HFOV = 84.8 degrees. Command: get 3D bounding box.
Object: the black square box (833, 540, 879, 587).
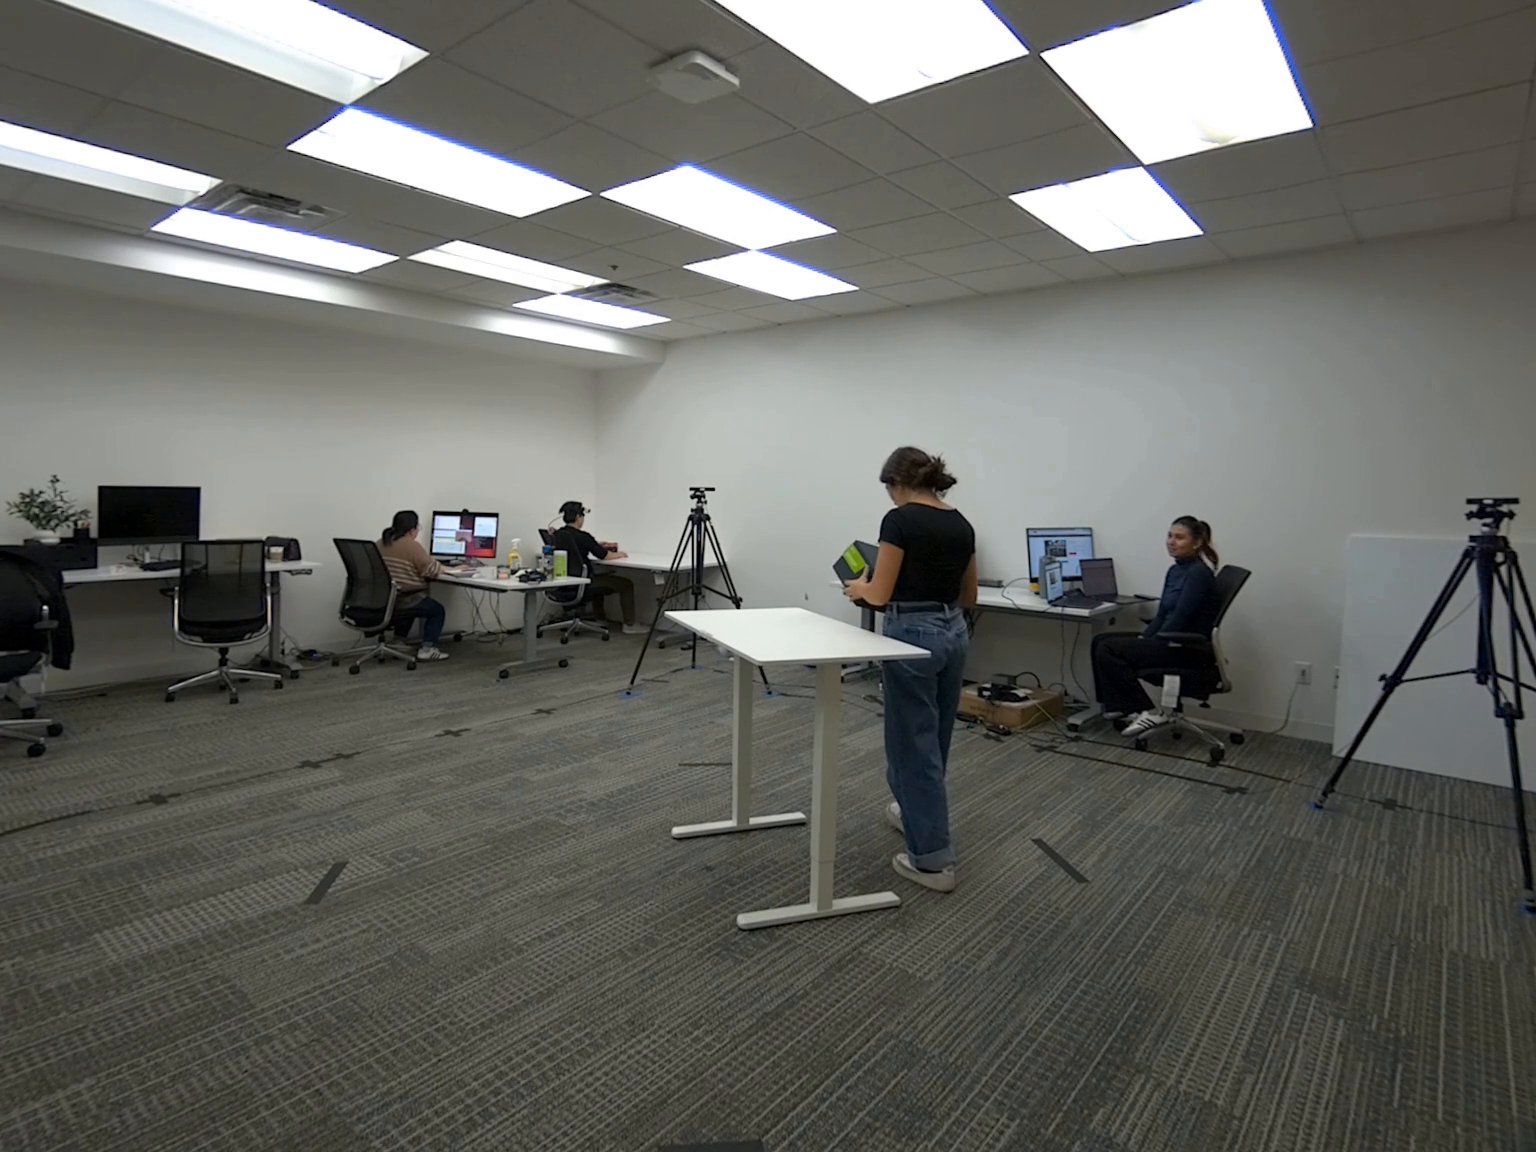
[{"bbox_3d":[0.418,-0.001,3.418,0.209,0.155,0.237,15,35,-39],"label":"black square box"}]
